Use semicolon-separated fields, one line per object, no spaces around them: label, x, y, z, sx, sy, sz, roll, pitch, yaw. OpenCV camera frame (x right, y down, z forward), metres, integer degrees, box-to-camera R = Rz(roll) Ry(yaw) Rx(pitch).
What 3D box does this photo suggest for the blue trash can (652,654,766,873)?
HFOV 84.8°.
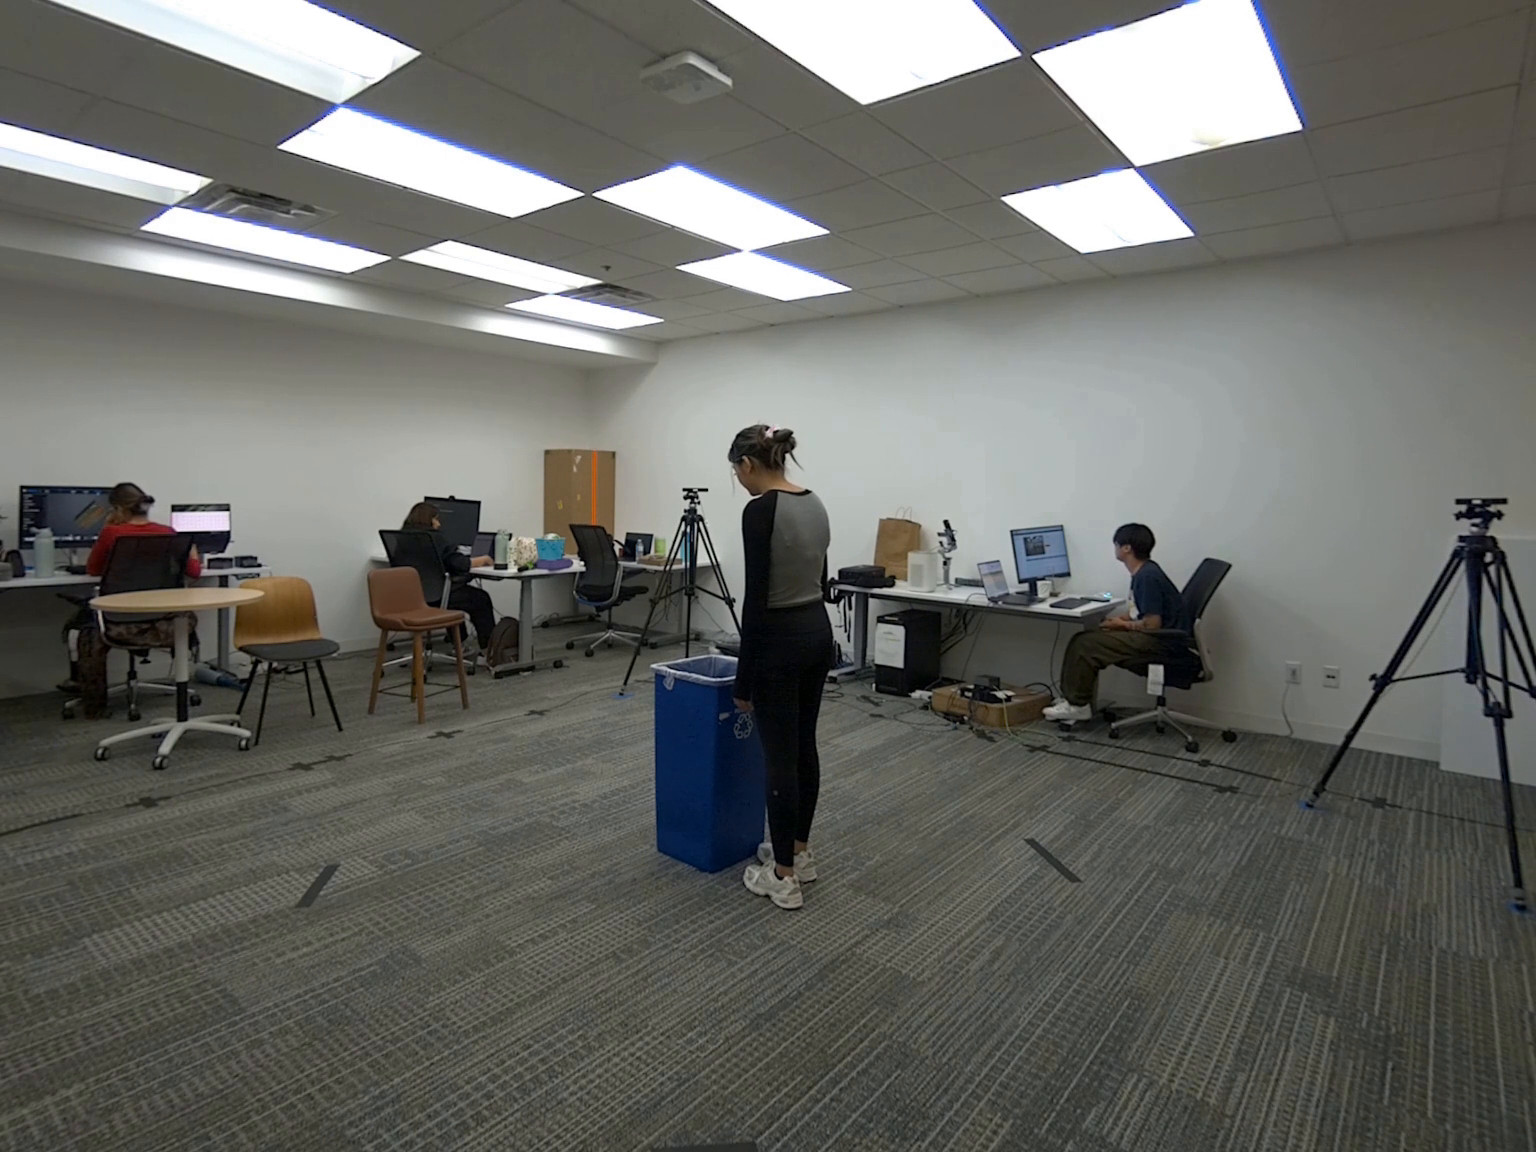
blue trash can;-0.224;0.694;3.267;0.391;0.711;0.363;4;4;40
